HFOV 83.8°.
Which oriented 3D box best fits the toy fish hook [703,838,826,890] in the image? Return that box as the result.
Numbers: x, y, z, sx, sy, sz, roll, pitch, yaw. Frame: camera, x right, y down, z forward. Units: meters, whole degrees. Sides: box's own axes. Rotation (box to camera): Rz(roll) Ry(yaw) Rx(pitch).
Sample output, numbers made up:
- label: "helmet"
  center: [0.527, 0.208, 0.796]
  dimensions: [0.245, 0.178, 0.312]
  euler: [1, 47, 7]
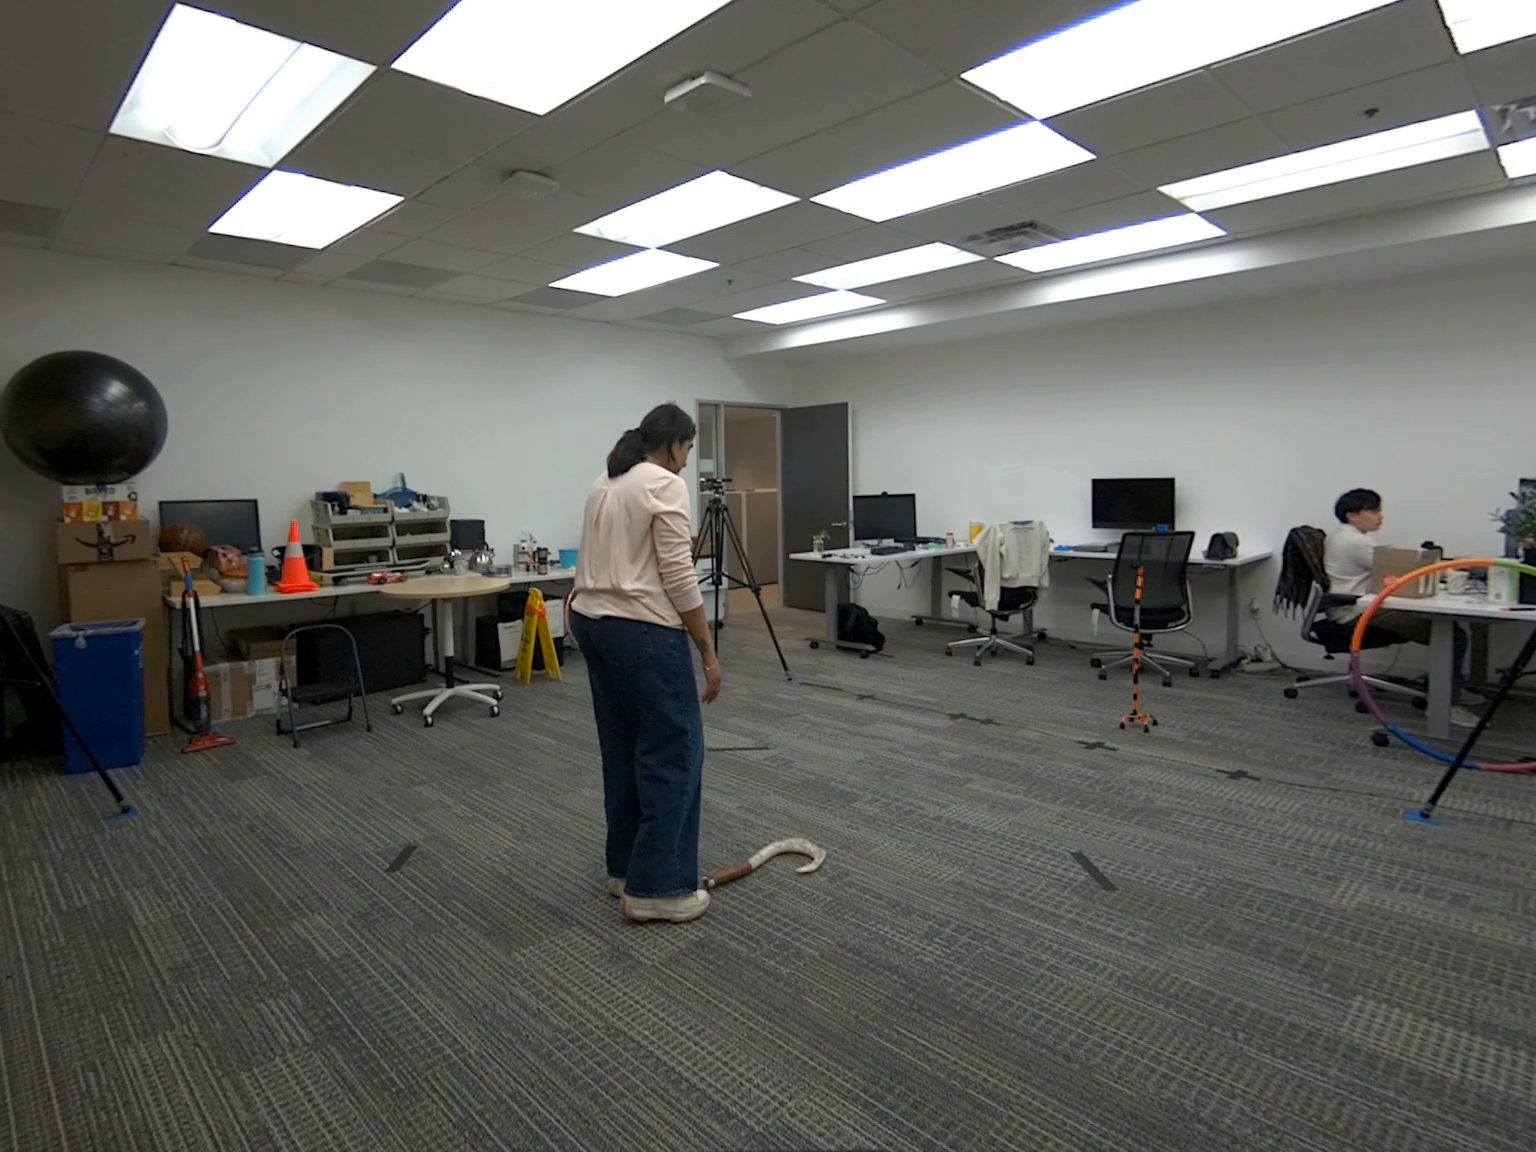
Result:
- label: "toy fish hook"
  center: [0.003, 1.030, 3.029]
  dimensions: [0.493, 0.048, 0.231]
  euler: [-7, 8, -42]
